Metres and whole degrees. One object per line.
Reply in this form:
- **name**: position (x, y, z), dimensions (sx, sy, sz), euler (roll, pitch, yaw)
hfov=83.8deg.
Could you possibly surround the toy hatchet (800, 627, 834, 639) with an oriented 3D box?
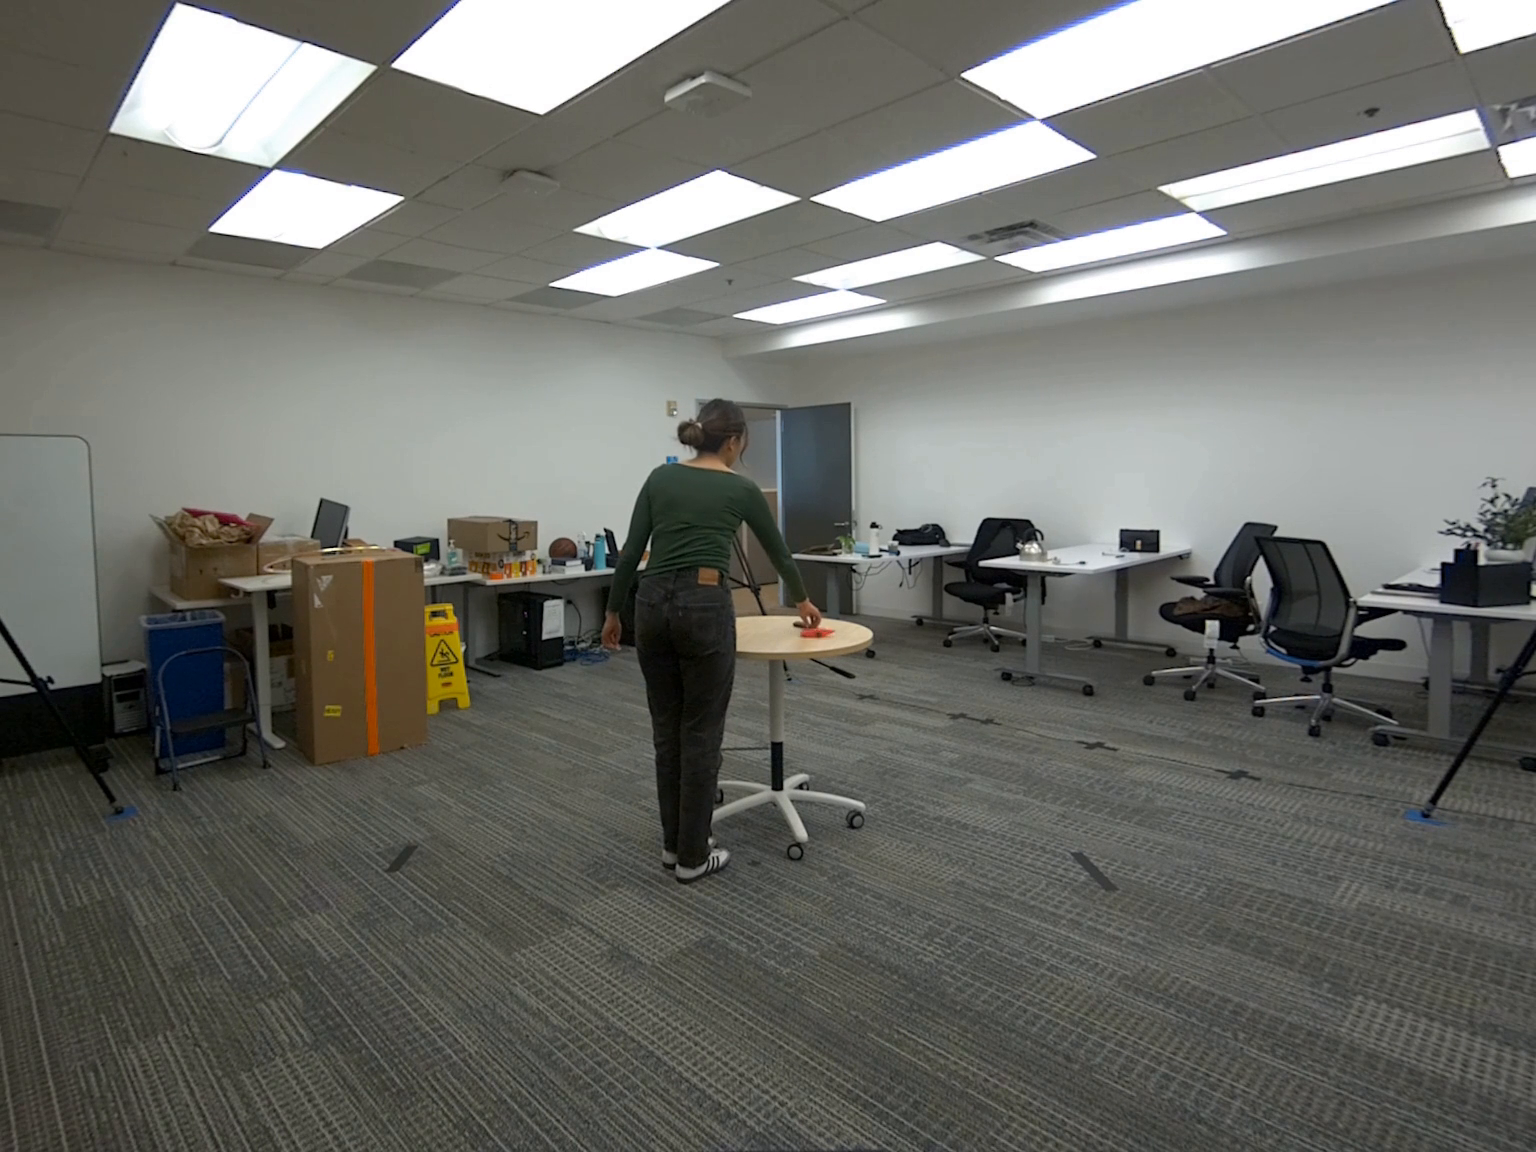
- **toy hatchet**: position (0.148, 0.215, 3.411), dimensions (0.128, 0.029, 0.276), euler (-9, 8, -25)
